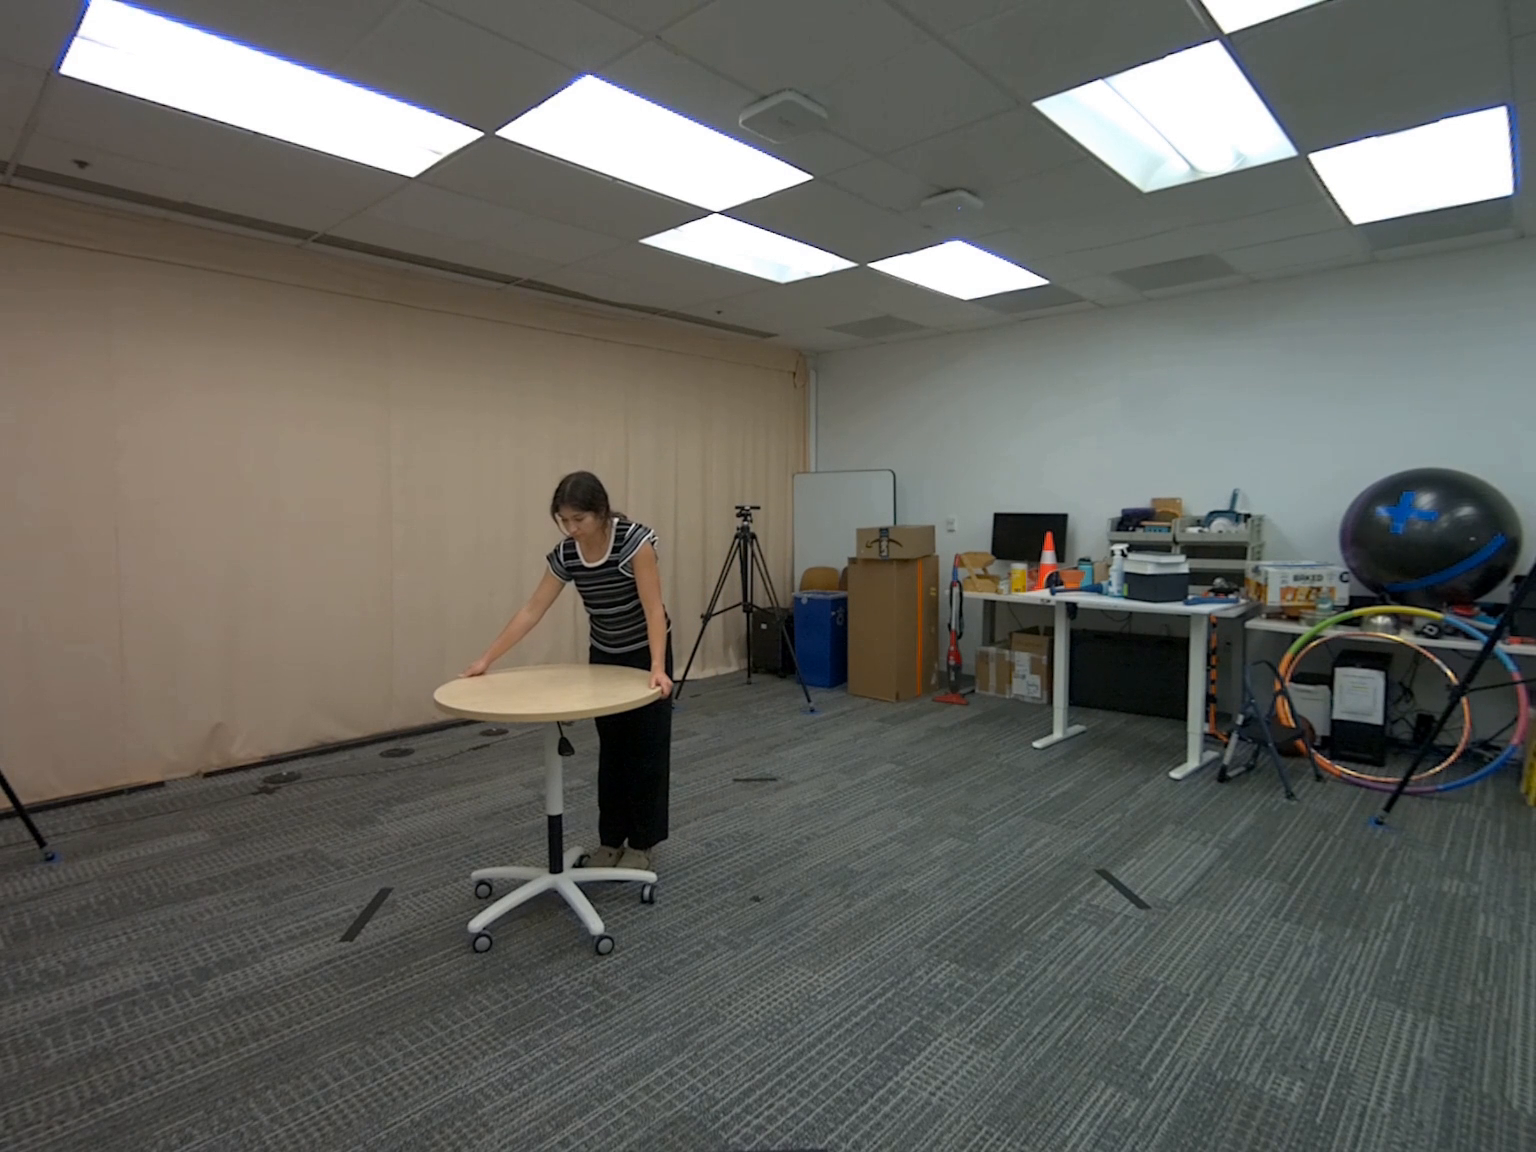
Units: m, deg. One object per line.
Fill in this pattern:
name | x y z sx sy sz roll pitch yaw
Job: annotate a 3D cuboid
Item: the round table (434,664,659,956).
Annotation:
round table | -0.728 0.767 2.873 0.763 0.792 0.766 -1 3 -2
